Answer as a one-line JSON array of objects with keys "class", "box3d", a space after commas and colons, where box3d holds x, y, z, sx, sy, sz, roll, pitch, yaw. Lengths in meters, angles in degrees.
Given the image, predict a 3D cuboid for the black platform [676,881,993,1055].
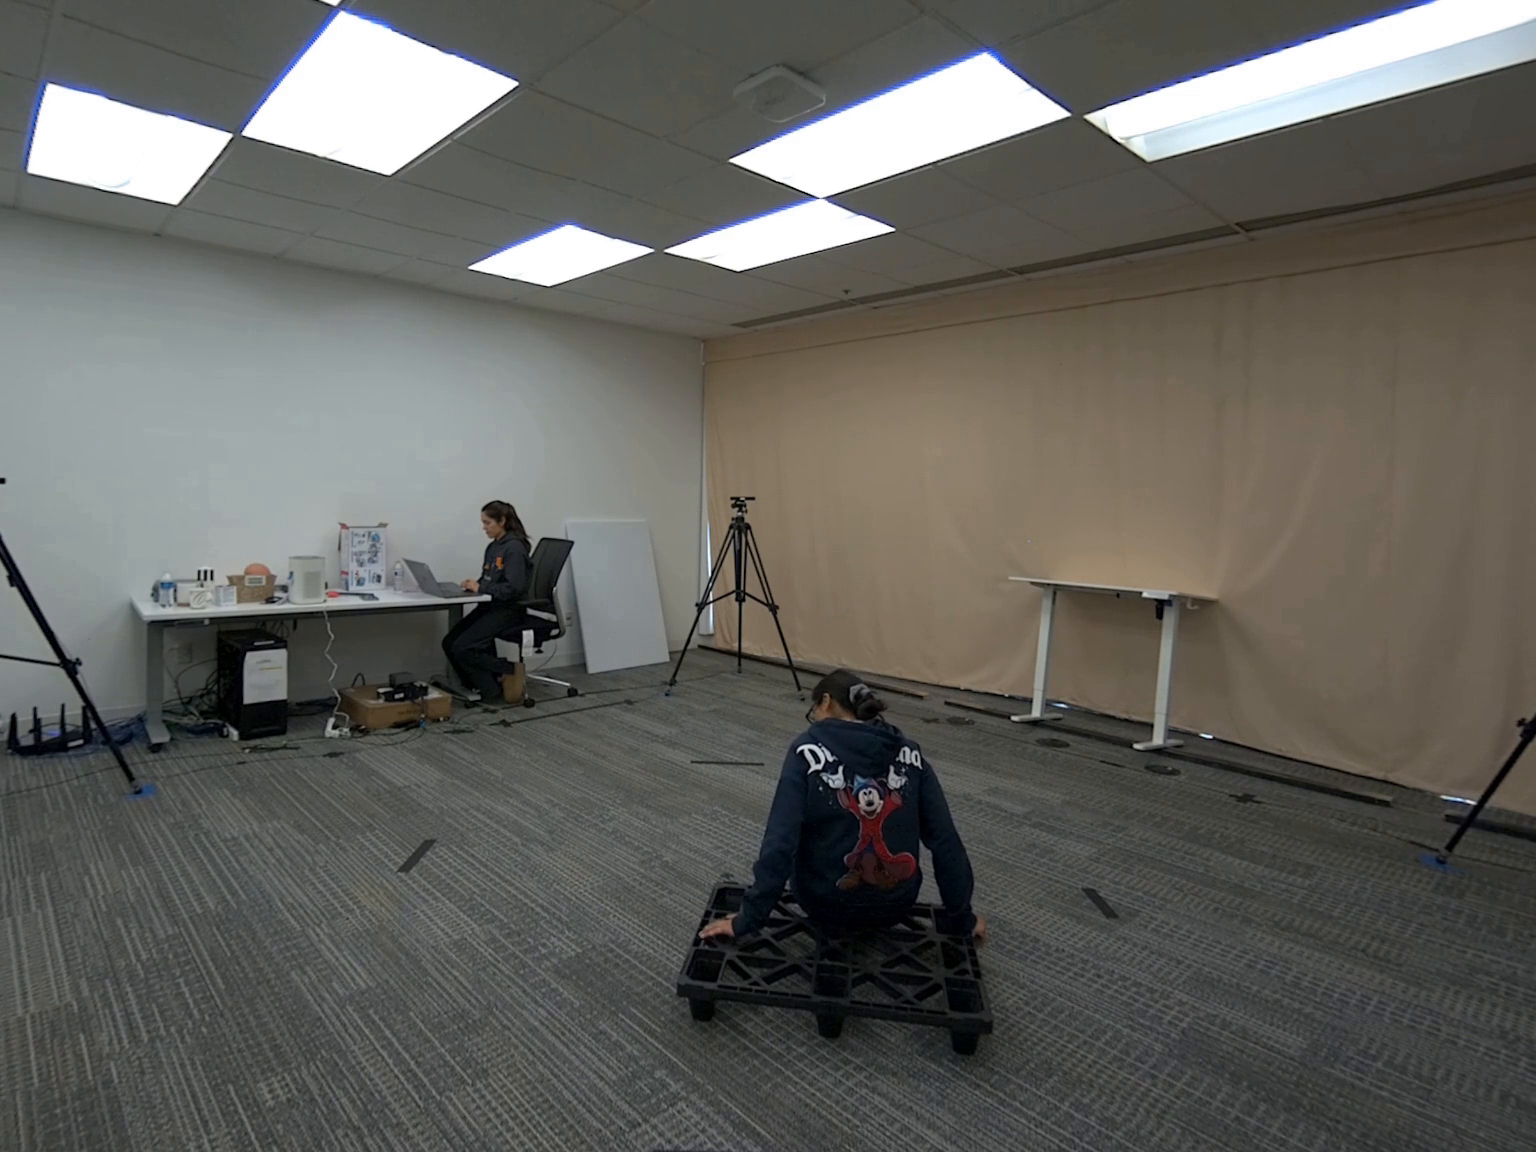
[{"class": "black platform", "box3d": [0.188, 1.111, 2.403, 0.811, 0.143, 0.603, 2, 6, 8]}]
